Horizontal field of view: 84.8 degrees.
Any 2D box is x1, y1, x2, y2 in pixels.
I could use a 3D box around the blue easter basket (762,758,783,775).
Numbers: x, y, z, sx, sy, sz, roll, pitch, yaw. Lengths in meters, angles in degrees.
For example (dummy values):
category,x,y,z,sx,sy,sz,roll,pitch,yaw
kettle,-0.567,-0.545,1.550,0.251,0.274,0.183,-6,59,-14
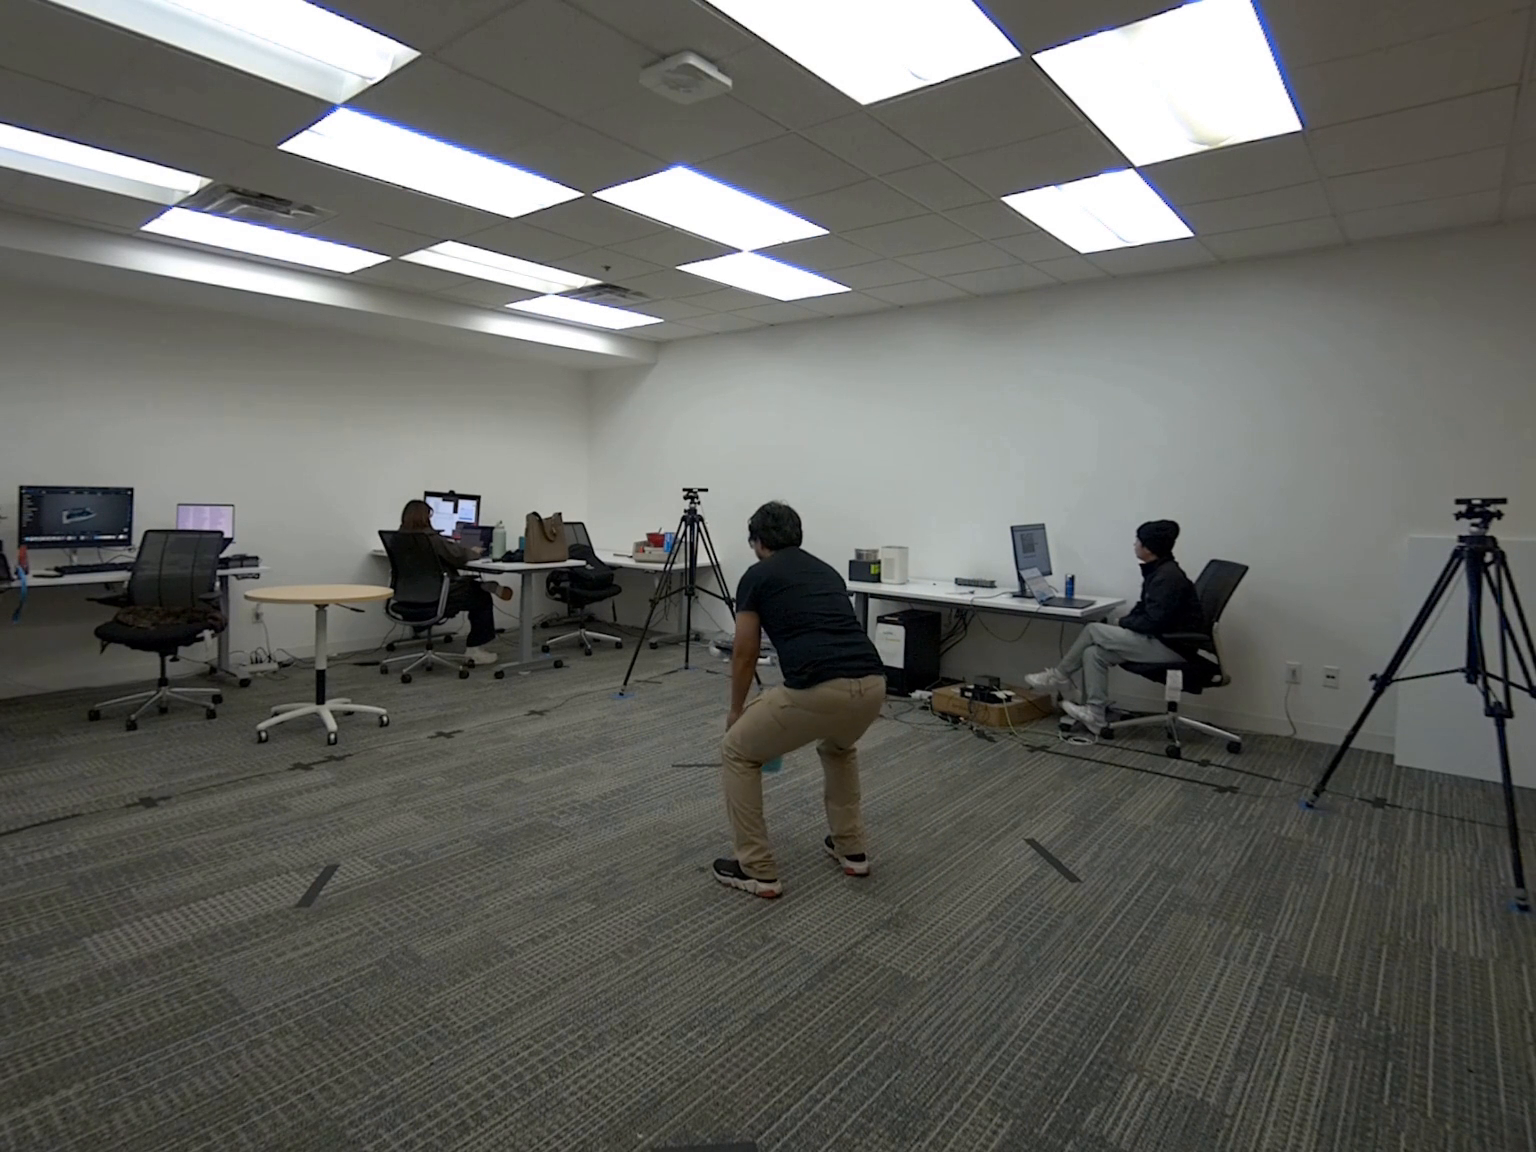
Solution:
category,x,y,z,sx,sy,sz,roll,pitch,yaw
blue easter basket,-0.046,0.676,3.380,0.243,0.156,0.243,4,-3,-2
